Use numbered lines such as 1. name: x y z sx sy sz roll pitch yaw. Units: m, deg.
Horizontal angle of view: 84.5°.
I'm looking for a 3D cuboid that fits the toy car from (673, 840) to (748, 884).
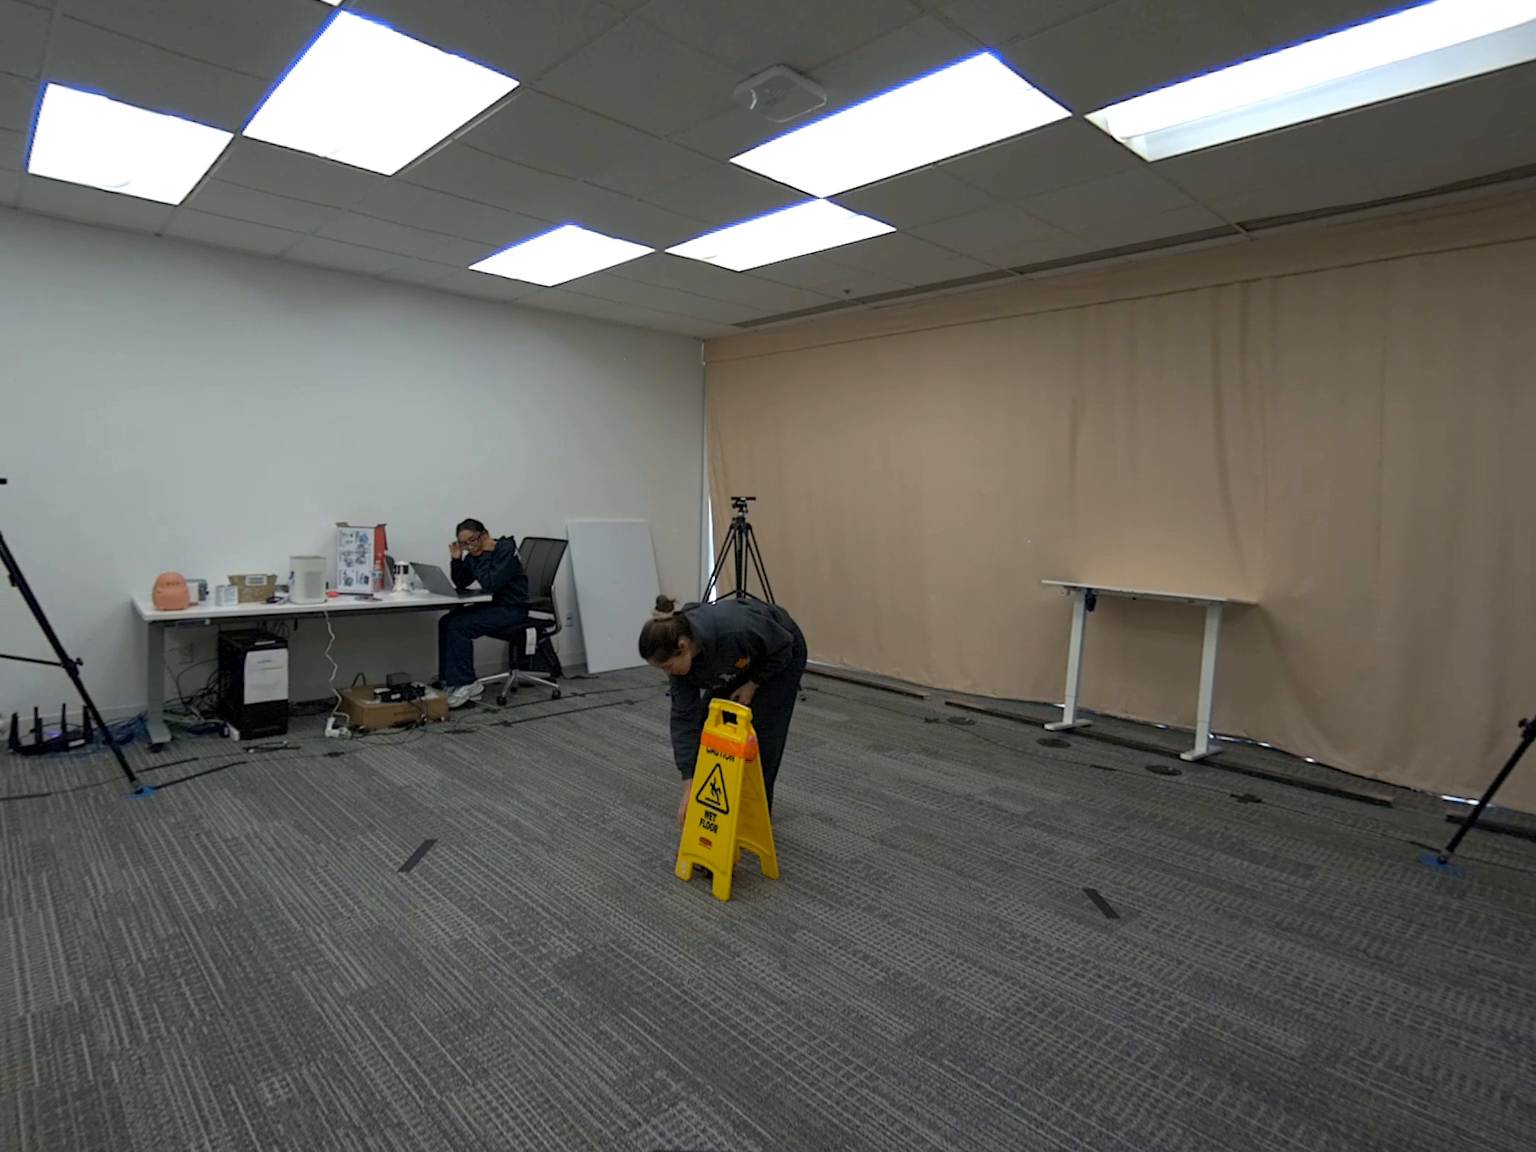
1. toy car: -0.221 1.070 3.186 0.260 0.083 0.127 -7 -2 43
